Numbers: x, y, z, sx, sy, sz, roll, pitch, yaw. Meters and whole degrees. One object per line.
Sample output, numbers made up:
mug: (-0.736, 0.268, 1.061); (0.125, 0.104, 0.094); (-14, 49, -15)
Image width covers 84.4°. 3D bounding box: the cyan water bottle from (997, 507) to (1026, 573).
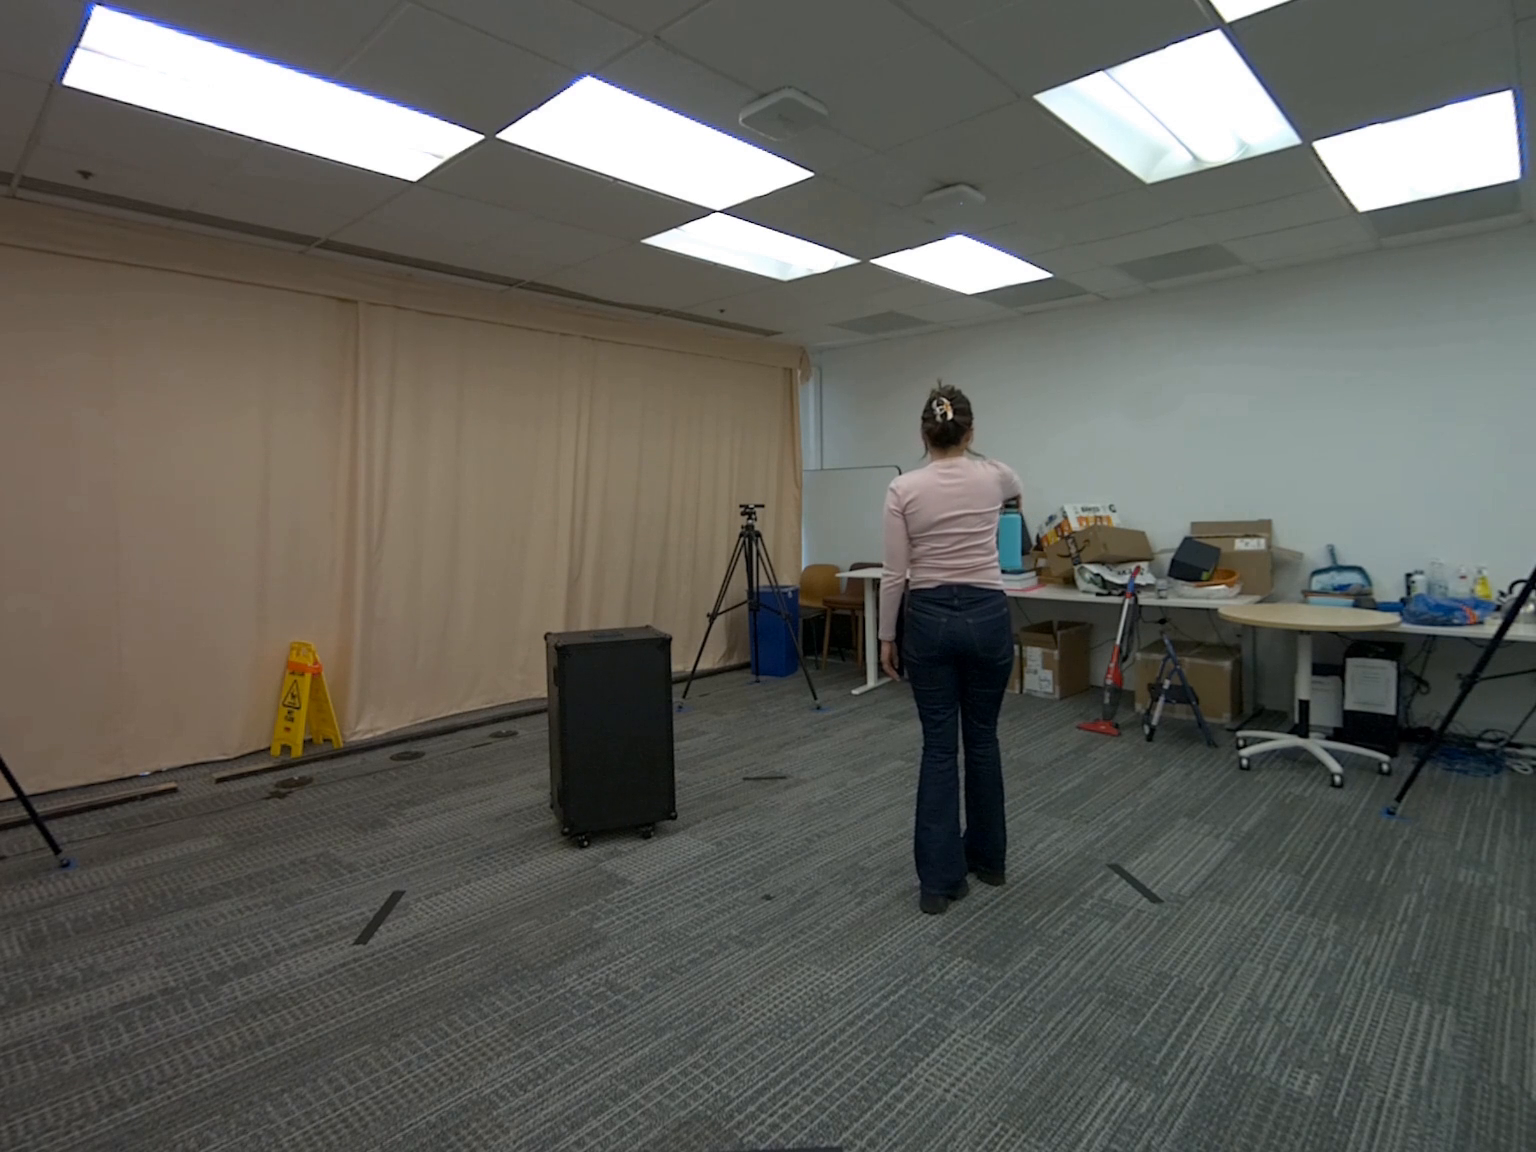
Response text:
cyan water bottle: (1.004, -0.170, 3.465); (0.092, 0.283, 0.092); (-2, 1, -2)
